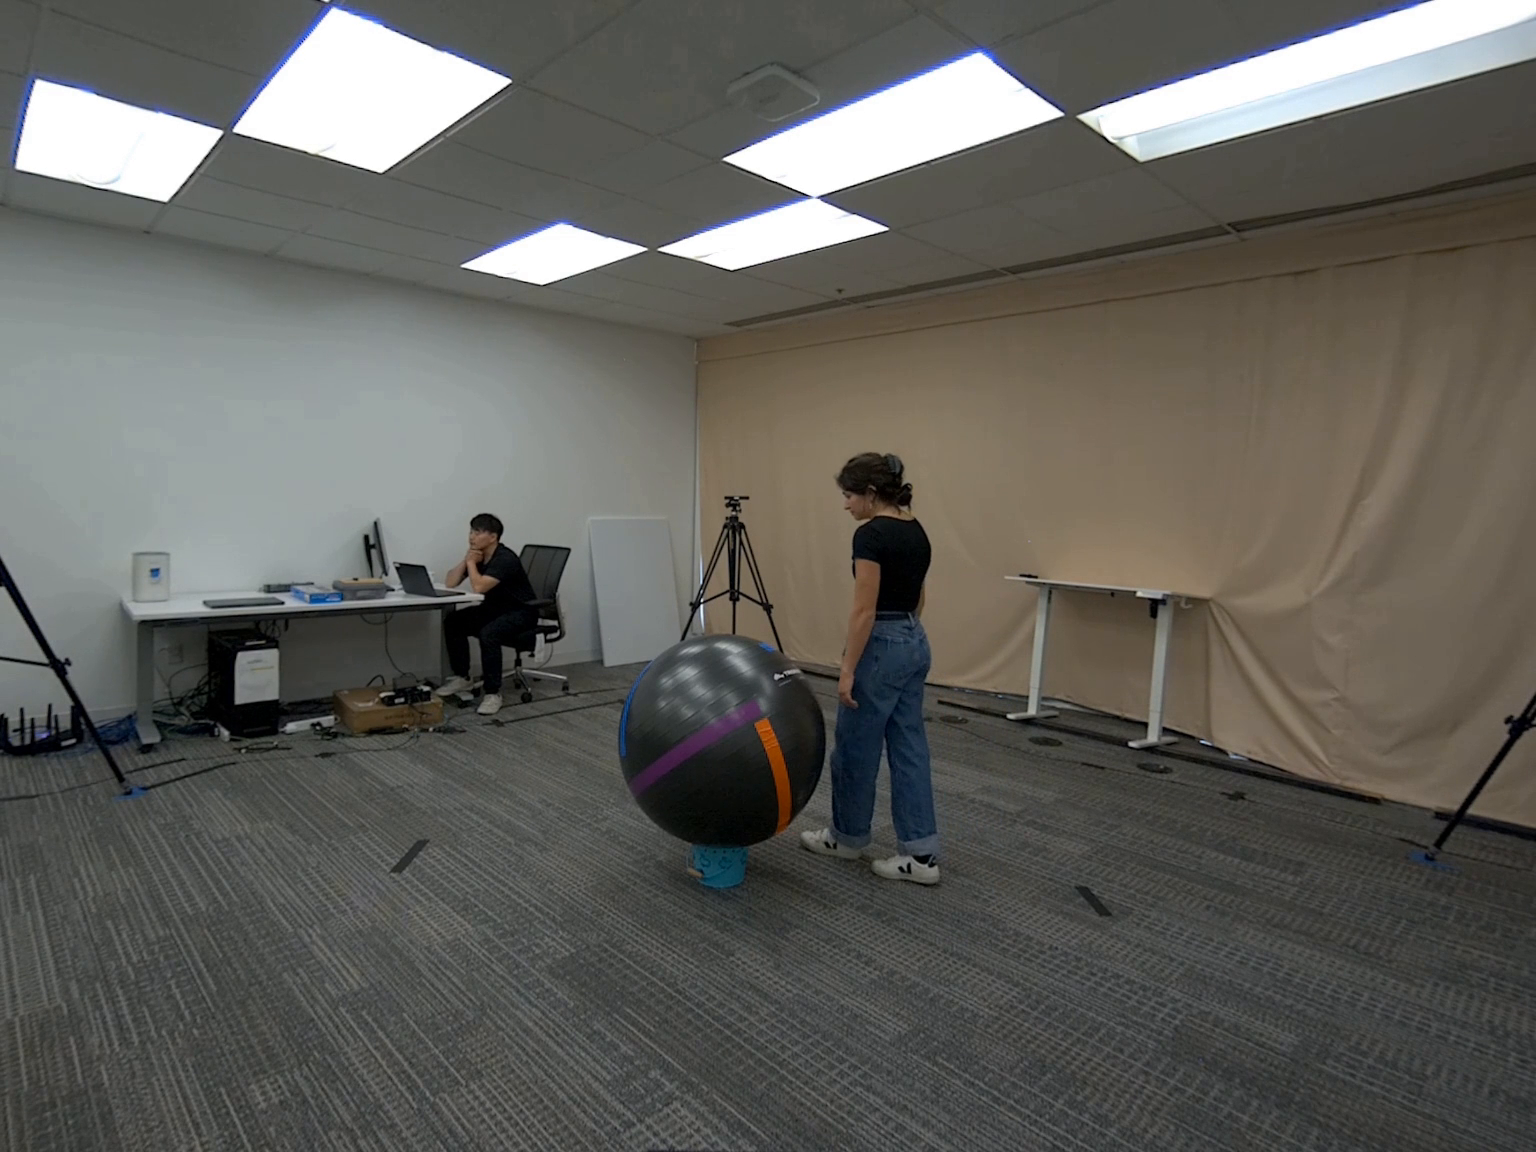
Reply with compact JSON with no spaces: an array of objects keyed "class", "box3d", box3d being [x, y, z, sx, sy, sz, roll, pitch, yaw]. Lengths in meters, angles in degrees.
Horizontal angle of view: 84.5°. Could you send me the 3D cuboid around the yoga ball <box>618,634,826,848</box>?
[{"class":"yoga ball","box3d":[-0.170,0.593,3.066,0.757,0.756,0.761,1,4,-1]}]
